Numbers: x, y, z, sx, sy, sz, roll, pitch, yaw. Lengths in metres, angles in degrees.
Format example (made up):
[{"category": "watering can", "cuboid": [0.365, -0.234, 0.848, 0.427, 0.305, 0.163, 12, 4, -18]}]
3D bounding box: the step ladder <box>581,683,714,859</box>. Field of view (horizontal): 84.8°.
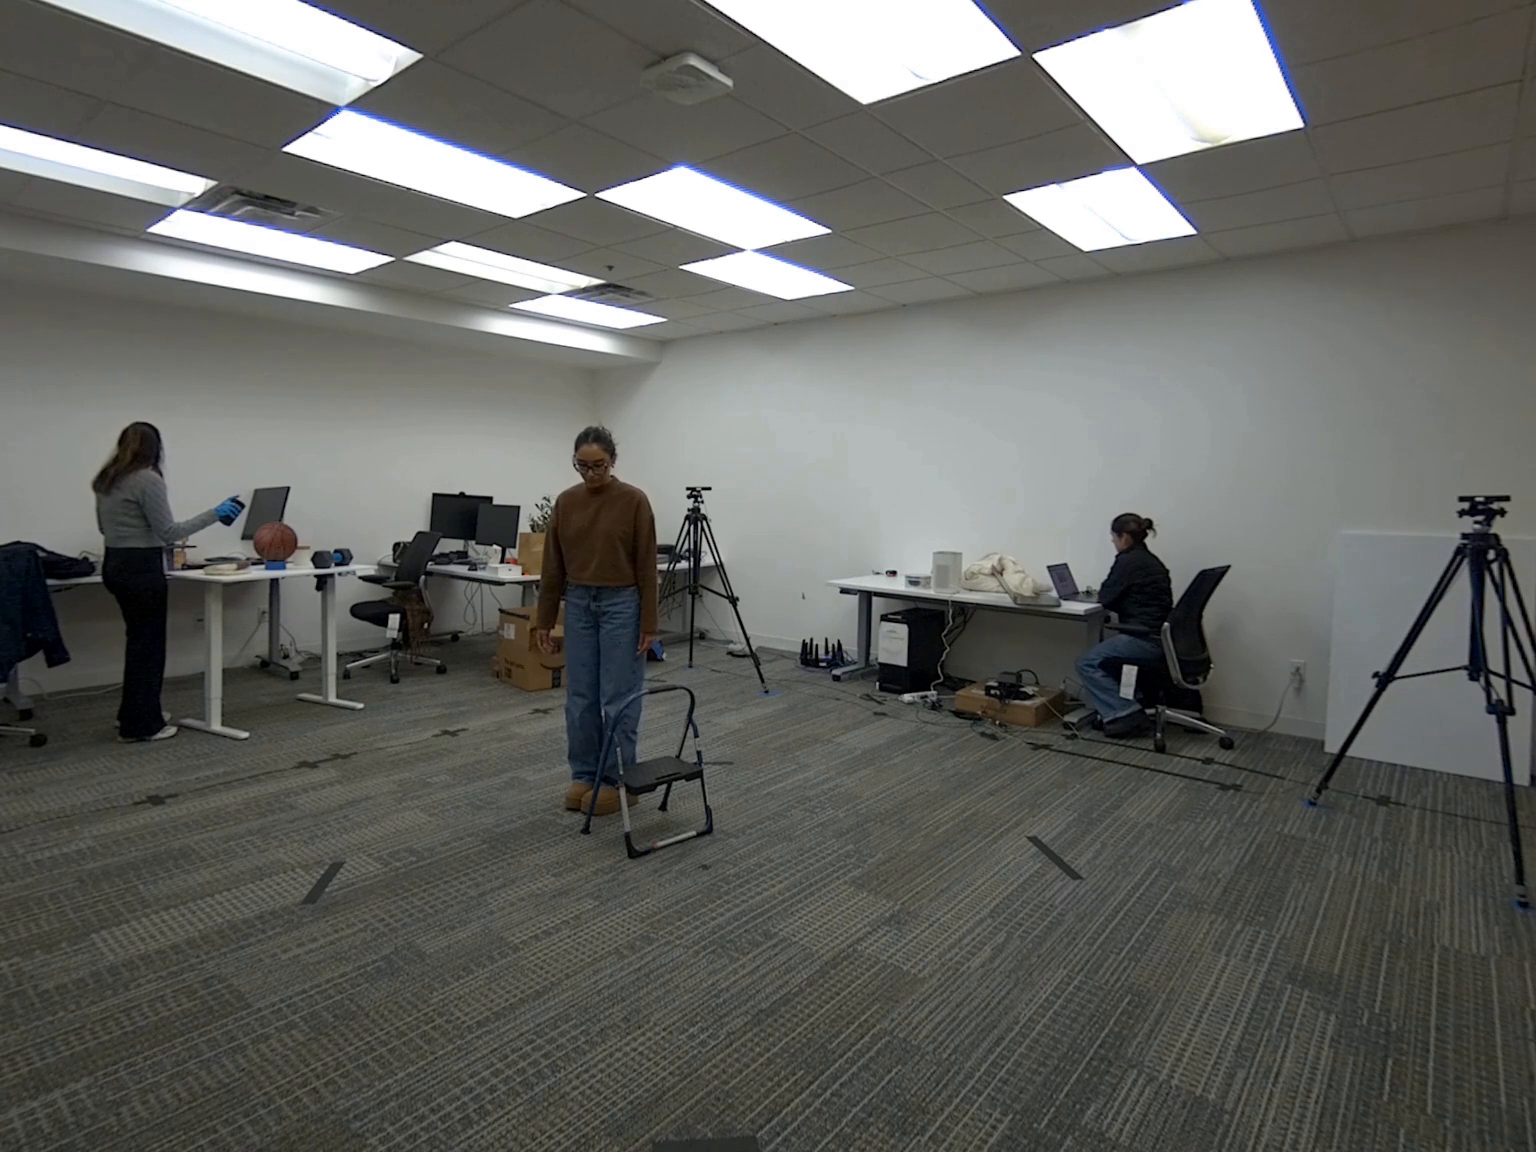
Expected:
[{"category": "step ladder", "cuboid": [-0.491, 0.728, 3.417, 0.417, 0.604, 0.361, -2, 5, -44]}]
